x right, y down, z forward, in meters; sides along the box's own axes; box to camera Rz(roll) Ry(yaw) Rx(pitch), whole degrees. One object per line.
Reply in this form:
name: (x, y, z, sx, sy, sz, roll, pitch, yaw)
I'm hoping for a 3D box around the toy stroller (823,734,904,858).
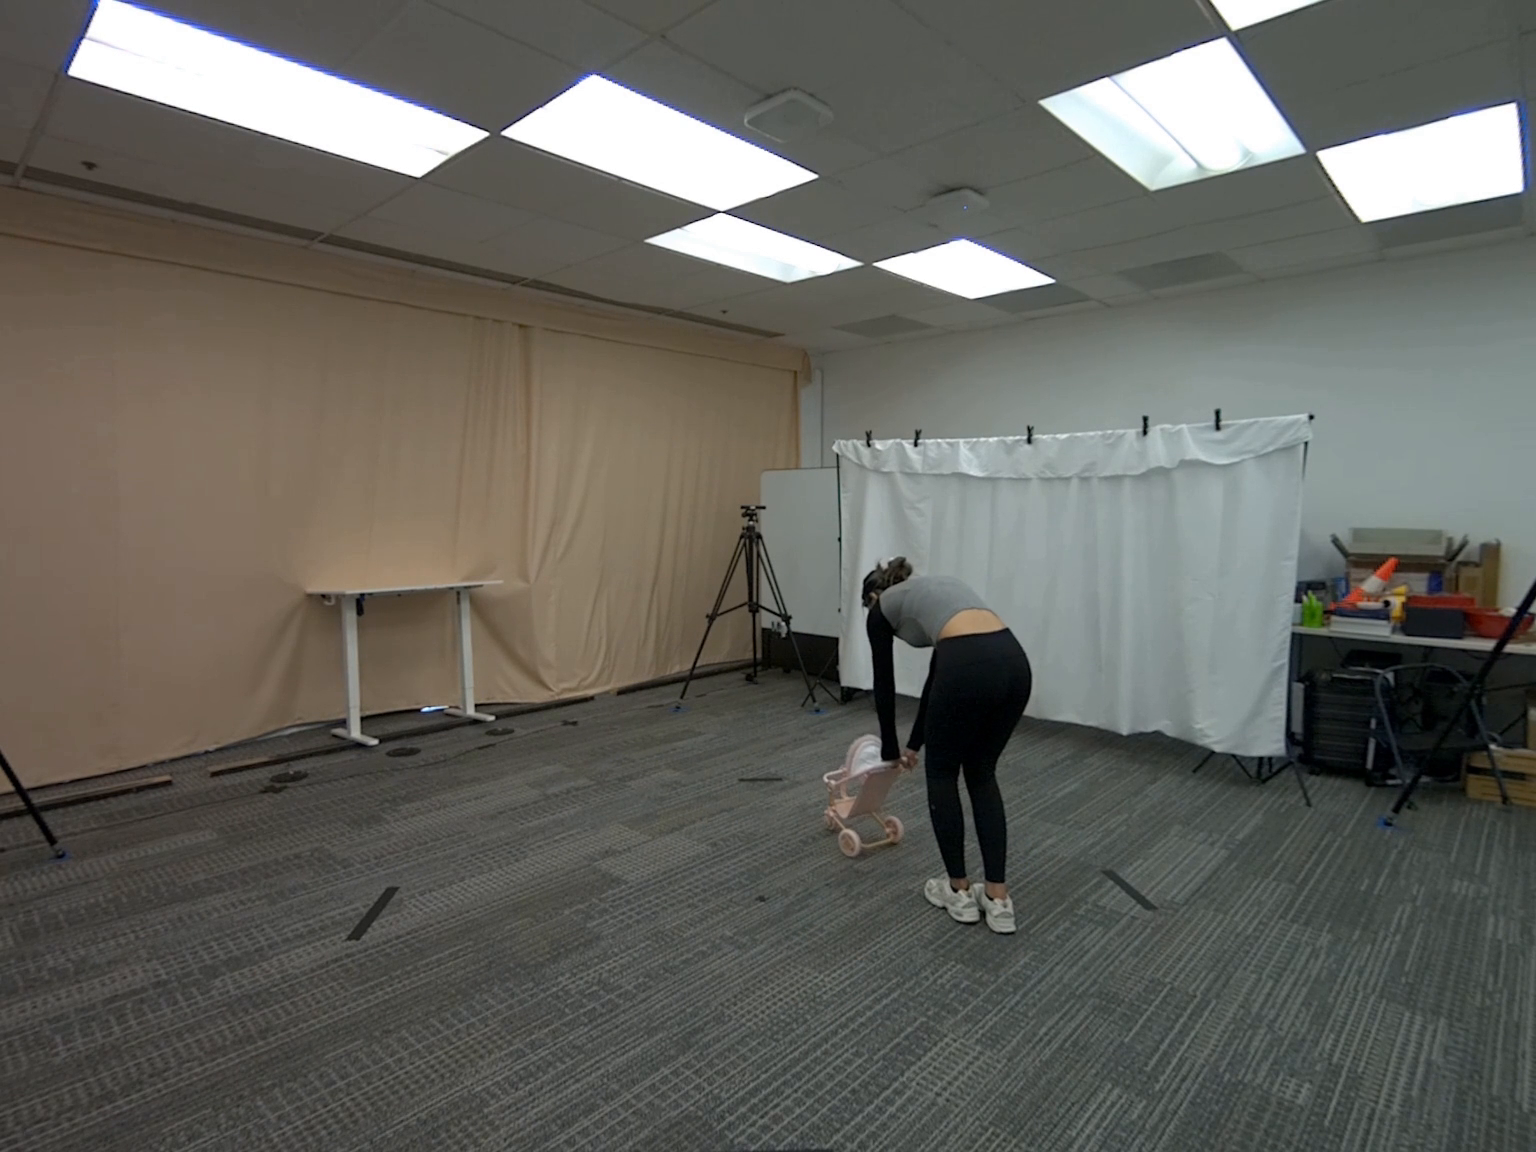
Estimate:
toy stroller: (0.393, 0.877, 3.439, 0.273, 0.531, 0.354, -1, 21, -33)
